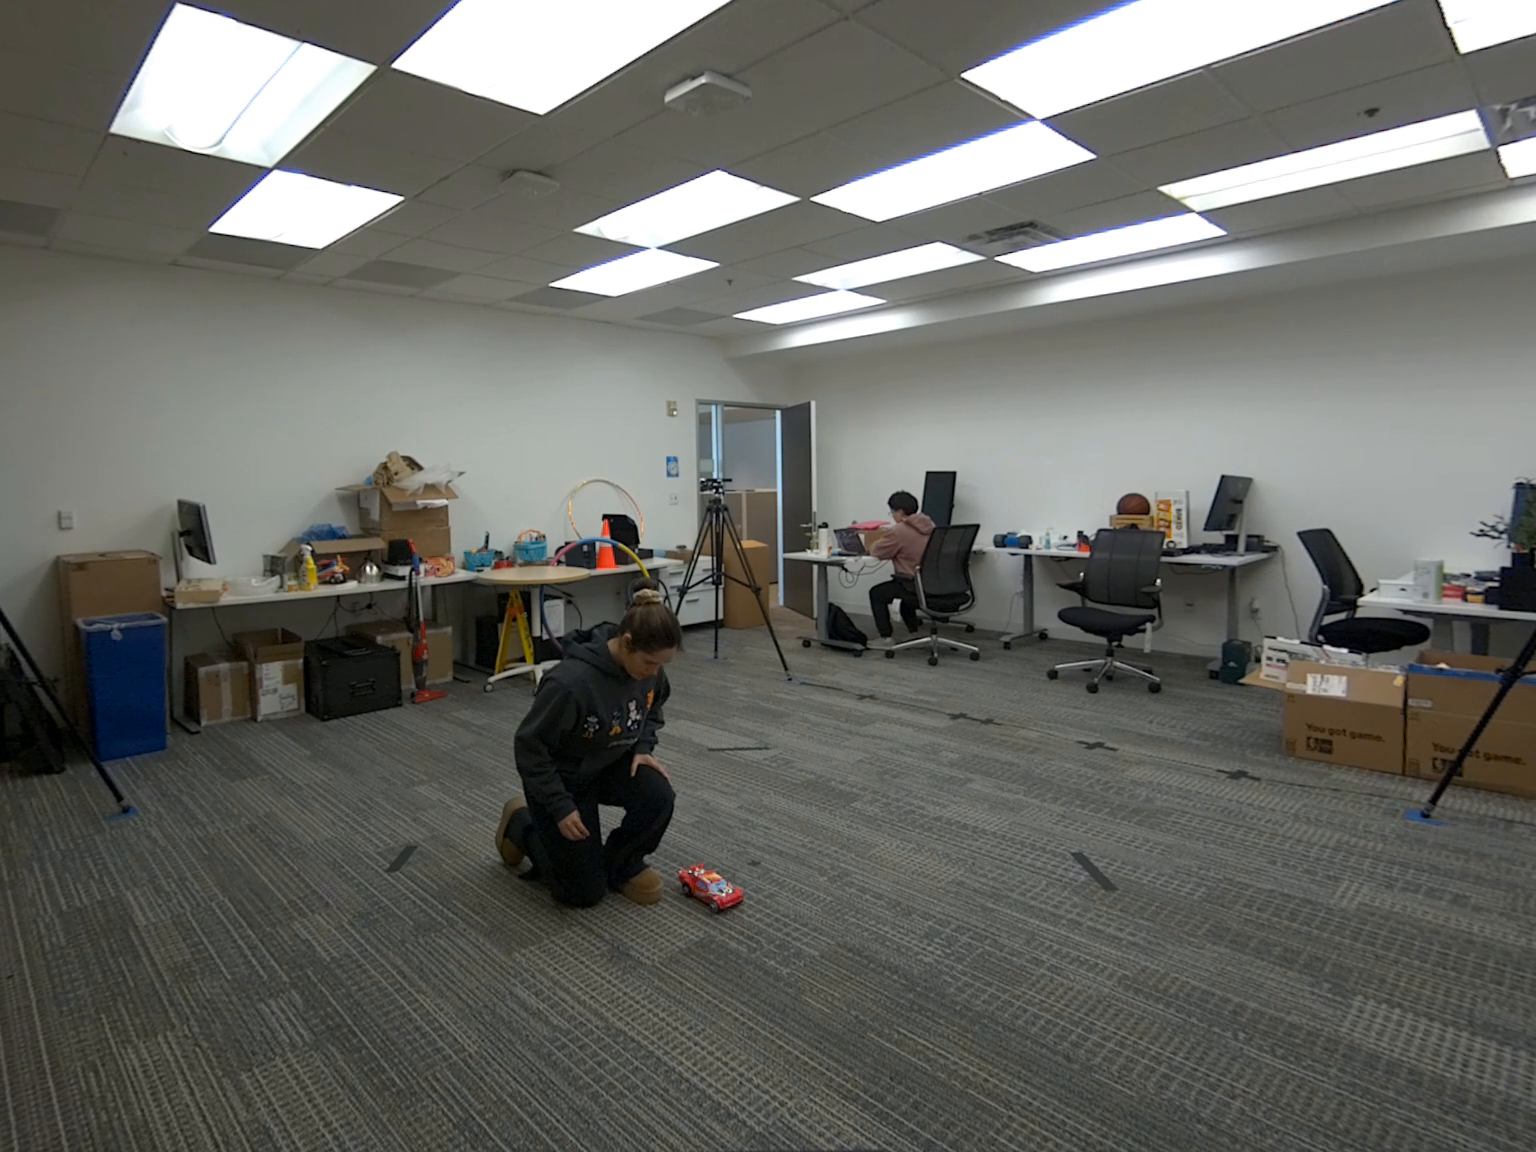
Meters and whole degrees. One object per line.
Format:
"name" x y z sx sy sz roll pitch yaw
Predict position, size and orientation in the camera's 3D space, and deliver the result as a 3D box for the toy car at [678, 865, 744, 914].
"toy car" -0.200 1.045 2.838 0.127 0.082 0.264 -6 18 -40
